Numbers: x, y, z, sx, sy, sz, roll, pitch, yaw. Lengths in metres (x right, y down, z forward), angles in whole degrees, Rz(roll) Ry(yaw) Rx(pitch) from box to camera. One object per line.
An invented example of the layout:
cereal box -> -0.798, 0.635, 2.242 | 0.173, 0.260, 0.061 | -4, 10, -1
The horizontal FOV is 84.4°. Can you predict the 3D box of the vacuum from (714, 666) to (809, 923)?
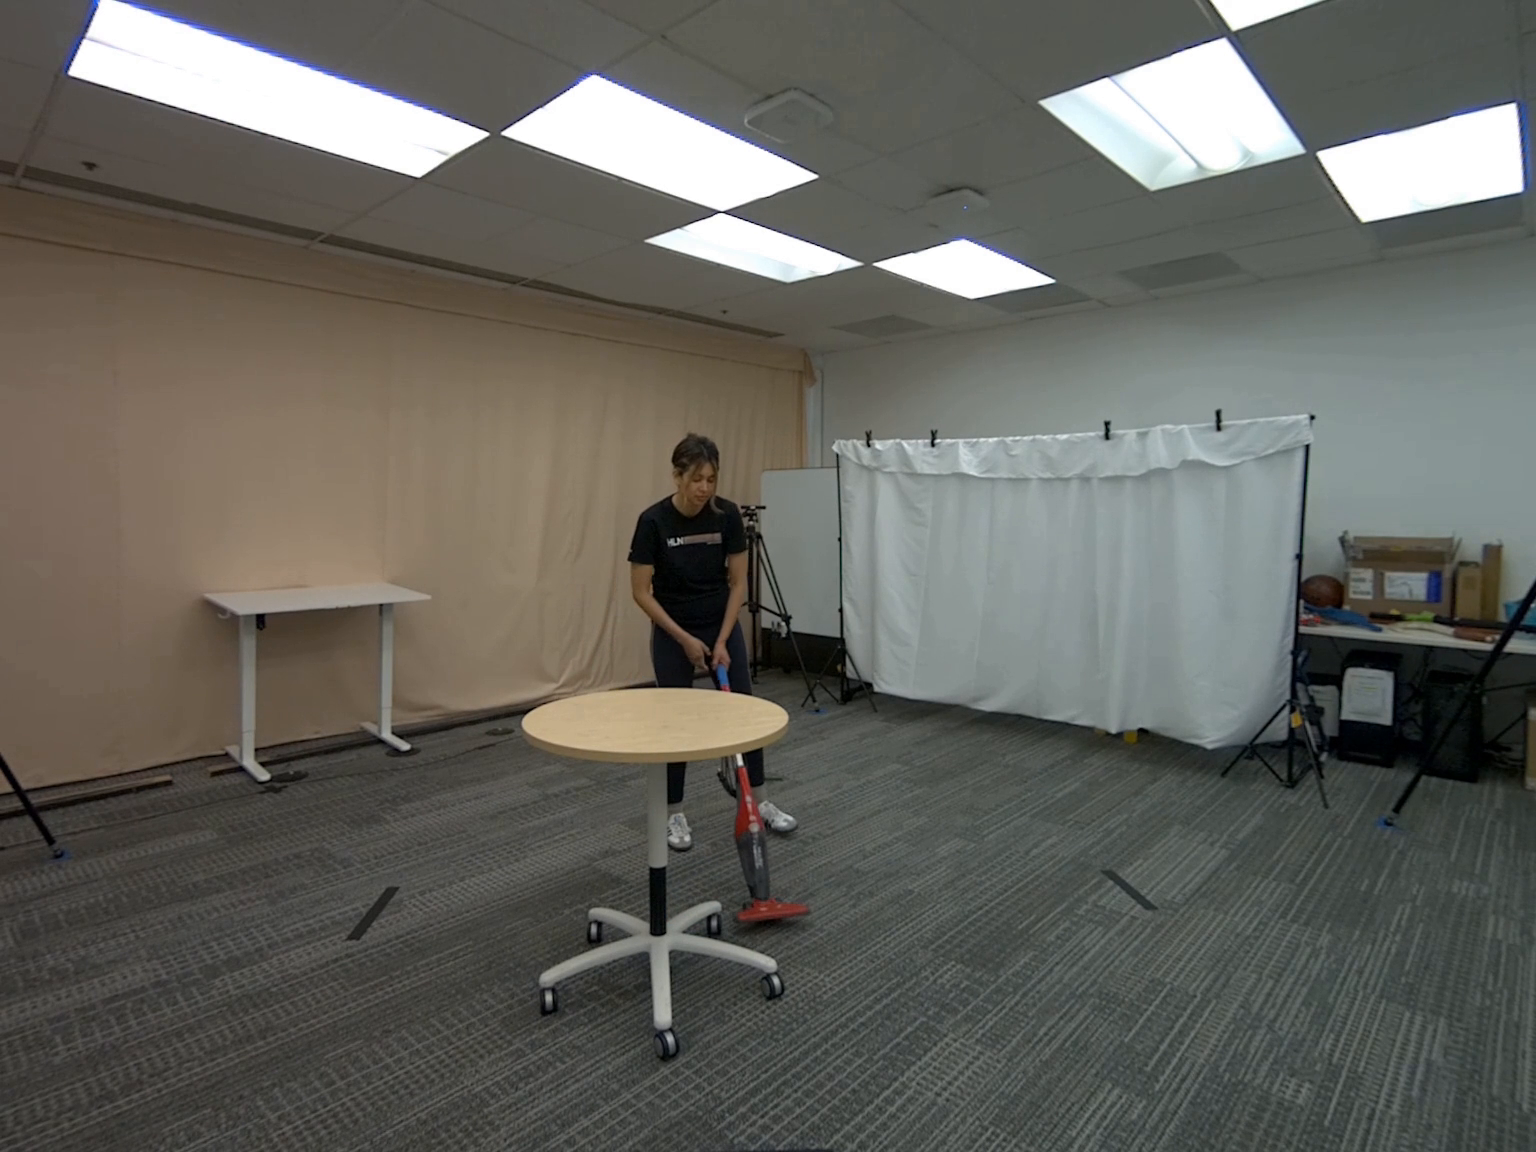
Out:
vacuum -> -0.107, 0.729, 3.145 | 0.248, 1.076, 0.143 | 1, -42, -18
